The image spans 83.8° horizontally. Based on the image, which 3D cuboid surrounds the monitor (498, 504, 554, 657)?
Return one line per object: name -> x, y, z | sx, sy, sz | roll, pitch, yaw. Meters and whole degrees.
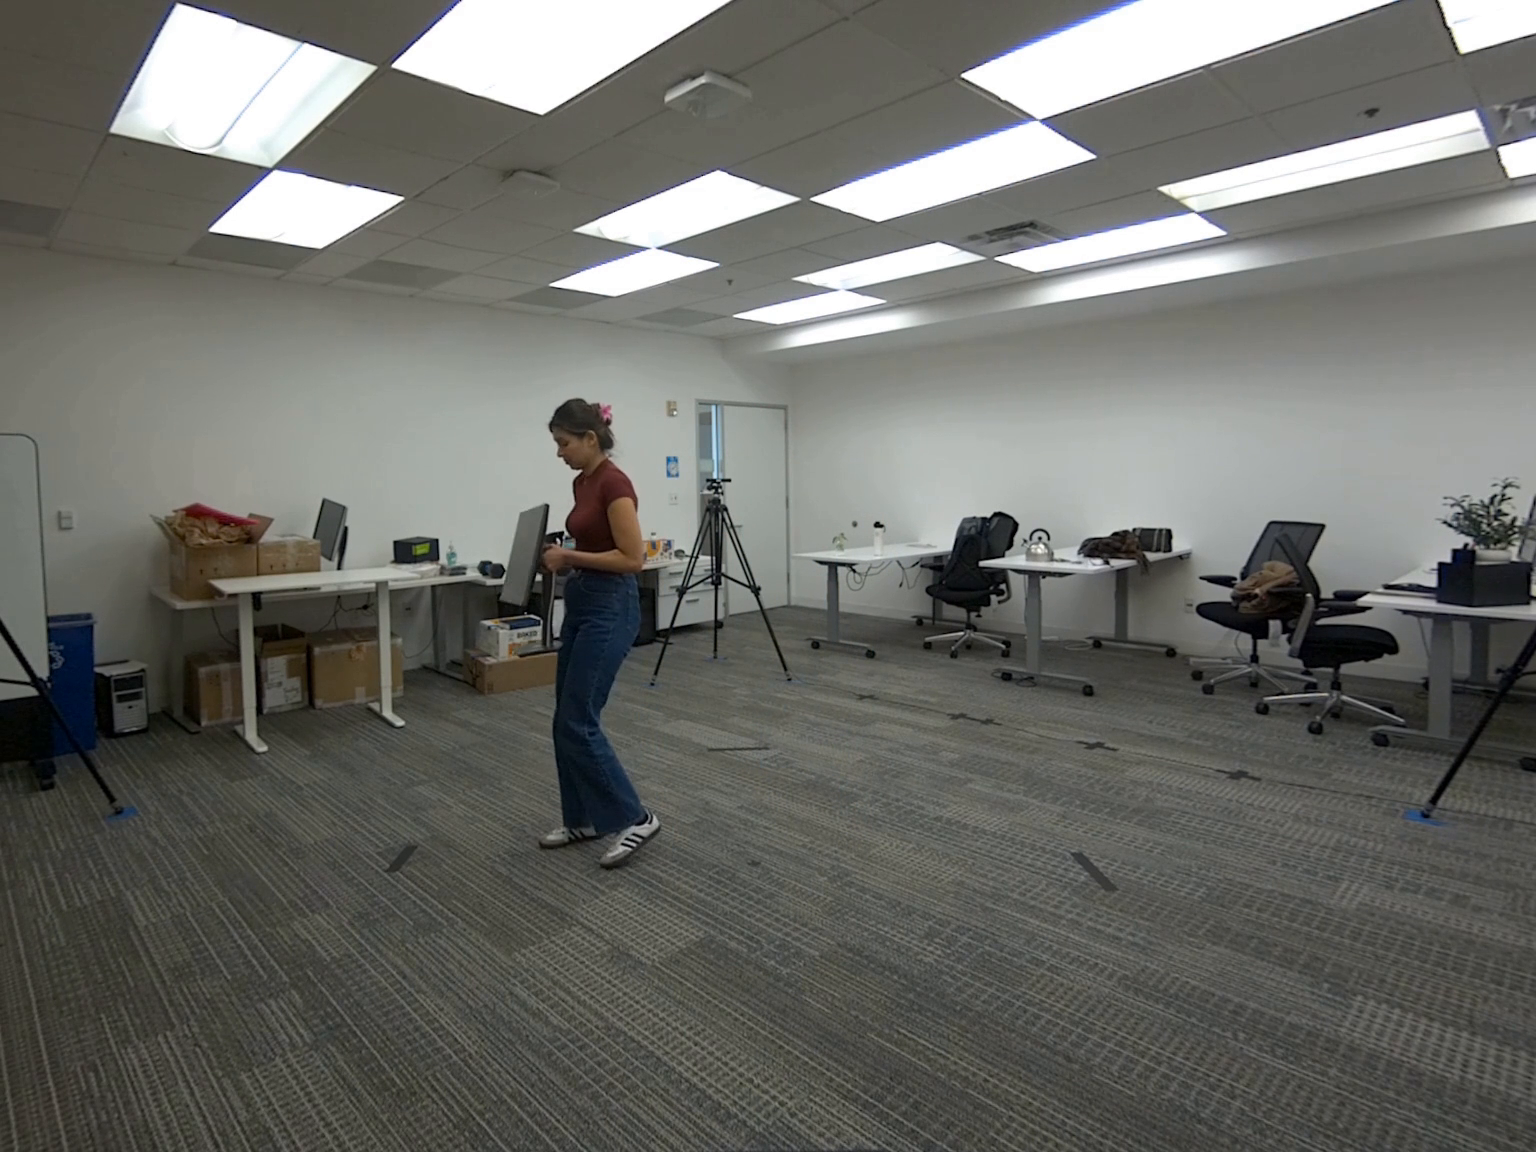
monitor -> -0.850, 0.019, 3.100 | 0.183, 0.523, 0.550 | -1, 0, -25
